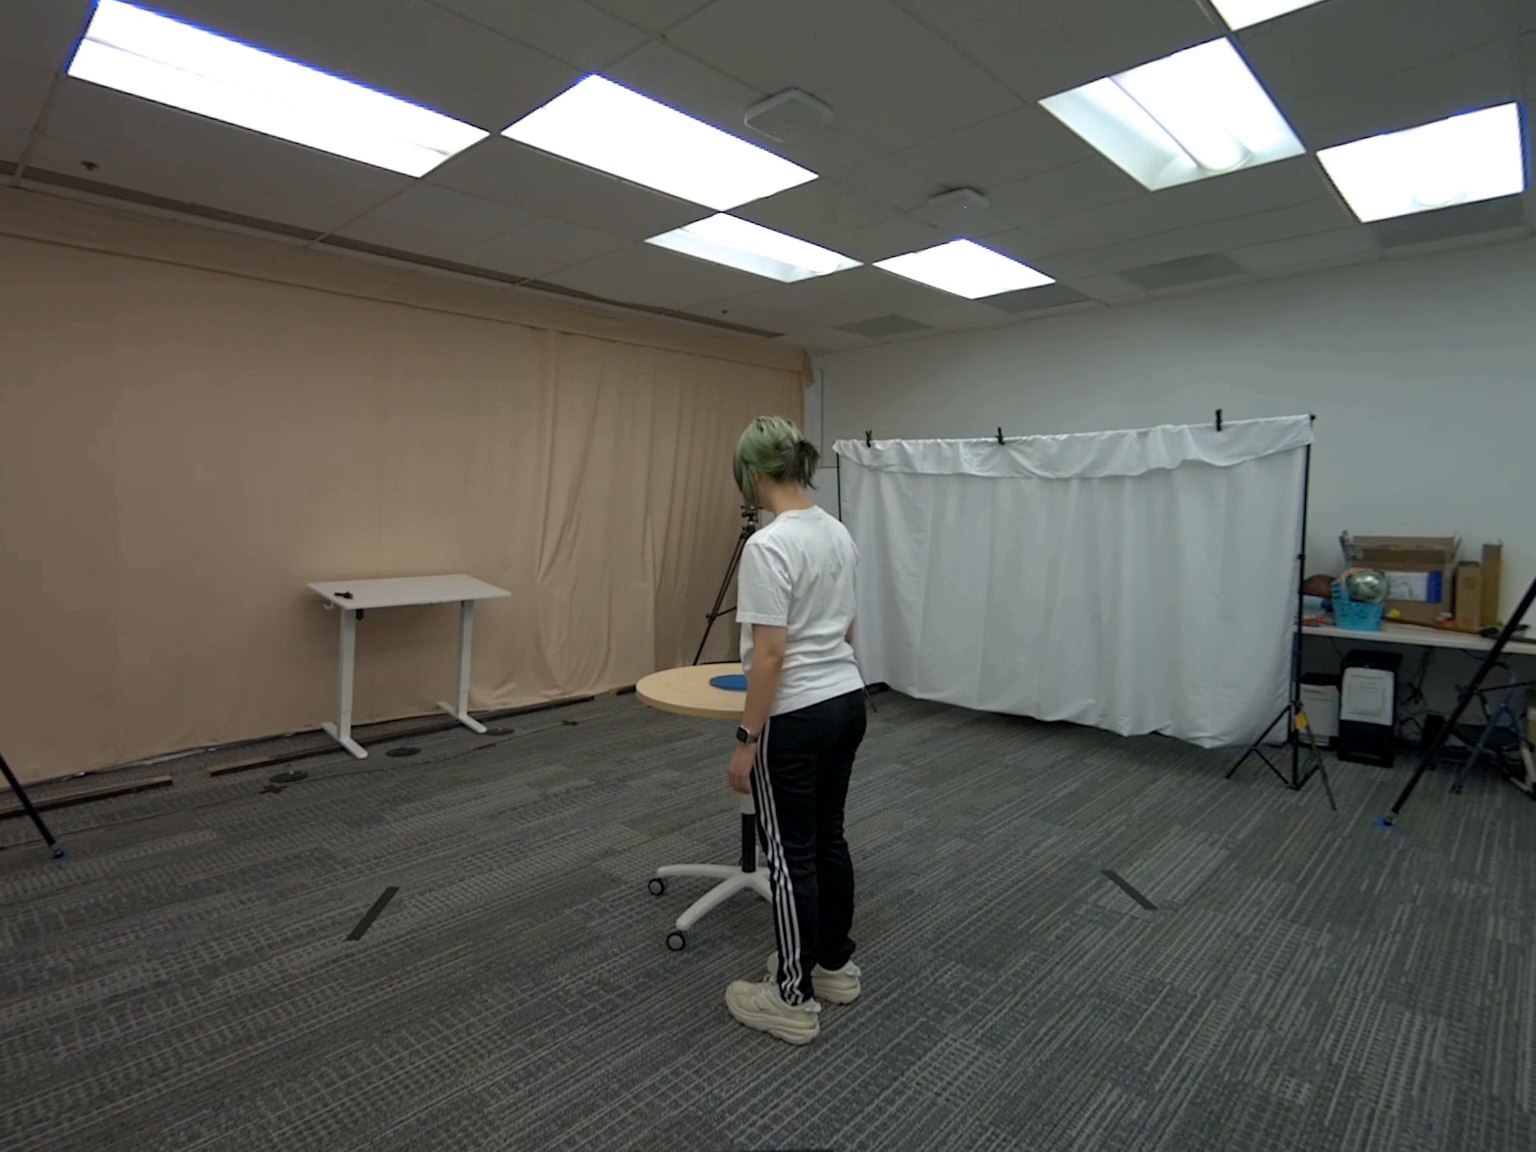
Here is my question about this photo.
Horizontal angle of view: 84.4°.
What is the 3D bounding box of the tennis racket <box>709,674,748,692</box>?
[{"bbox_3d":[-0.018,0.370,2.788,0.447,0.032,0.207,3,6,45],"label":"tennis racket"}]
